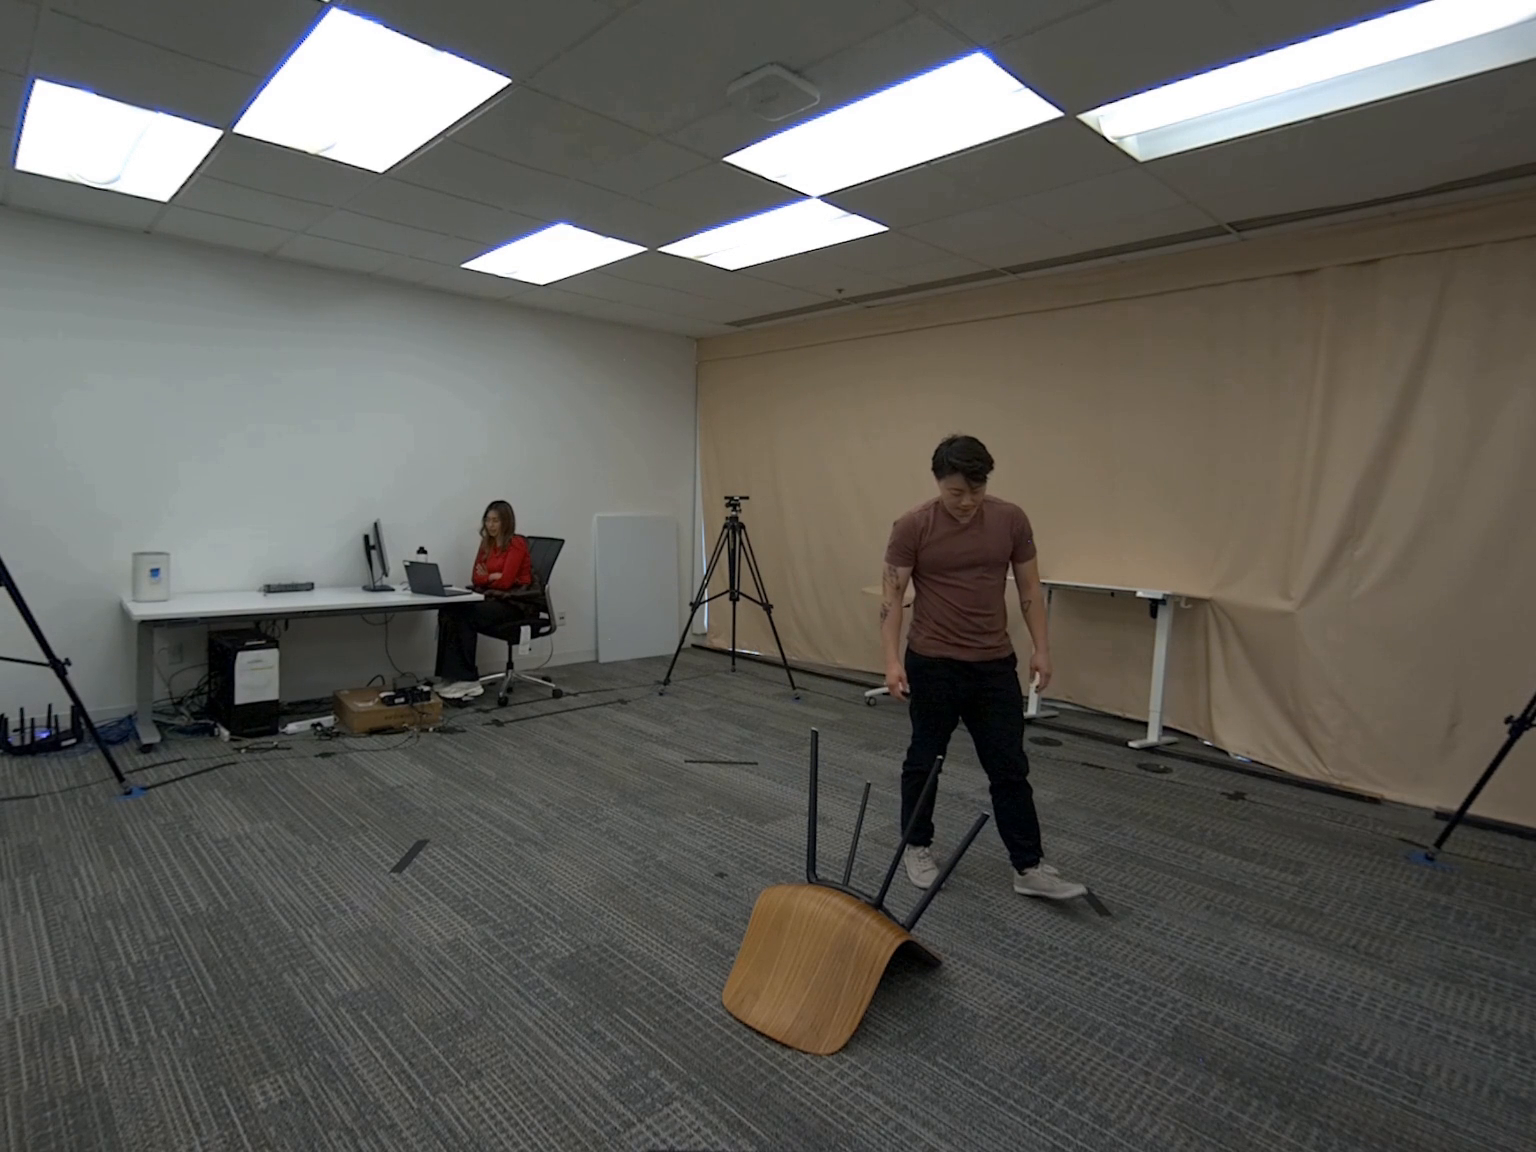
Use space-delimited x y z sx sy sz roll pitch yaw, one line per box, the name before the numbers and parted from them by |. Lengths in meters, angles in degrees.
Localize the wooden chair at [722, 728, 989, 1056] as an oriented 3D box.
wooden chair | 0.269 0.996 2.537 0.490 0.883 0.507 5 -35 37
